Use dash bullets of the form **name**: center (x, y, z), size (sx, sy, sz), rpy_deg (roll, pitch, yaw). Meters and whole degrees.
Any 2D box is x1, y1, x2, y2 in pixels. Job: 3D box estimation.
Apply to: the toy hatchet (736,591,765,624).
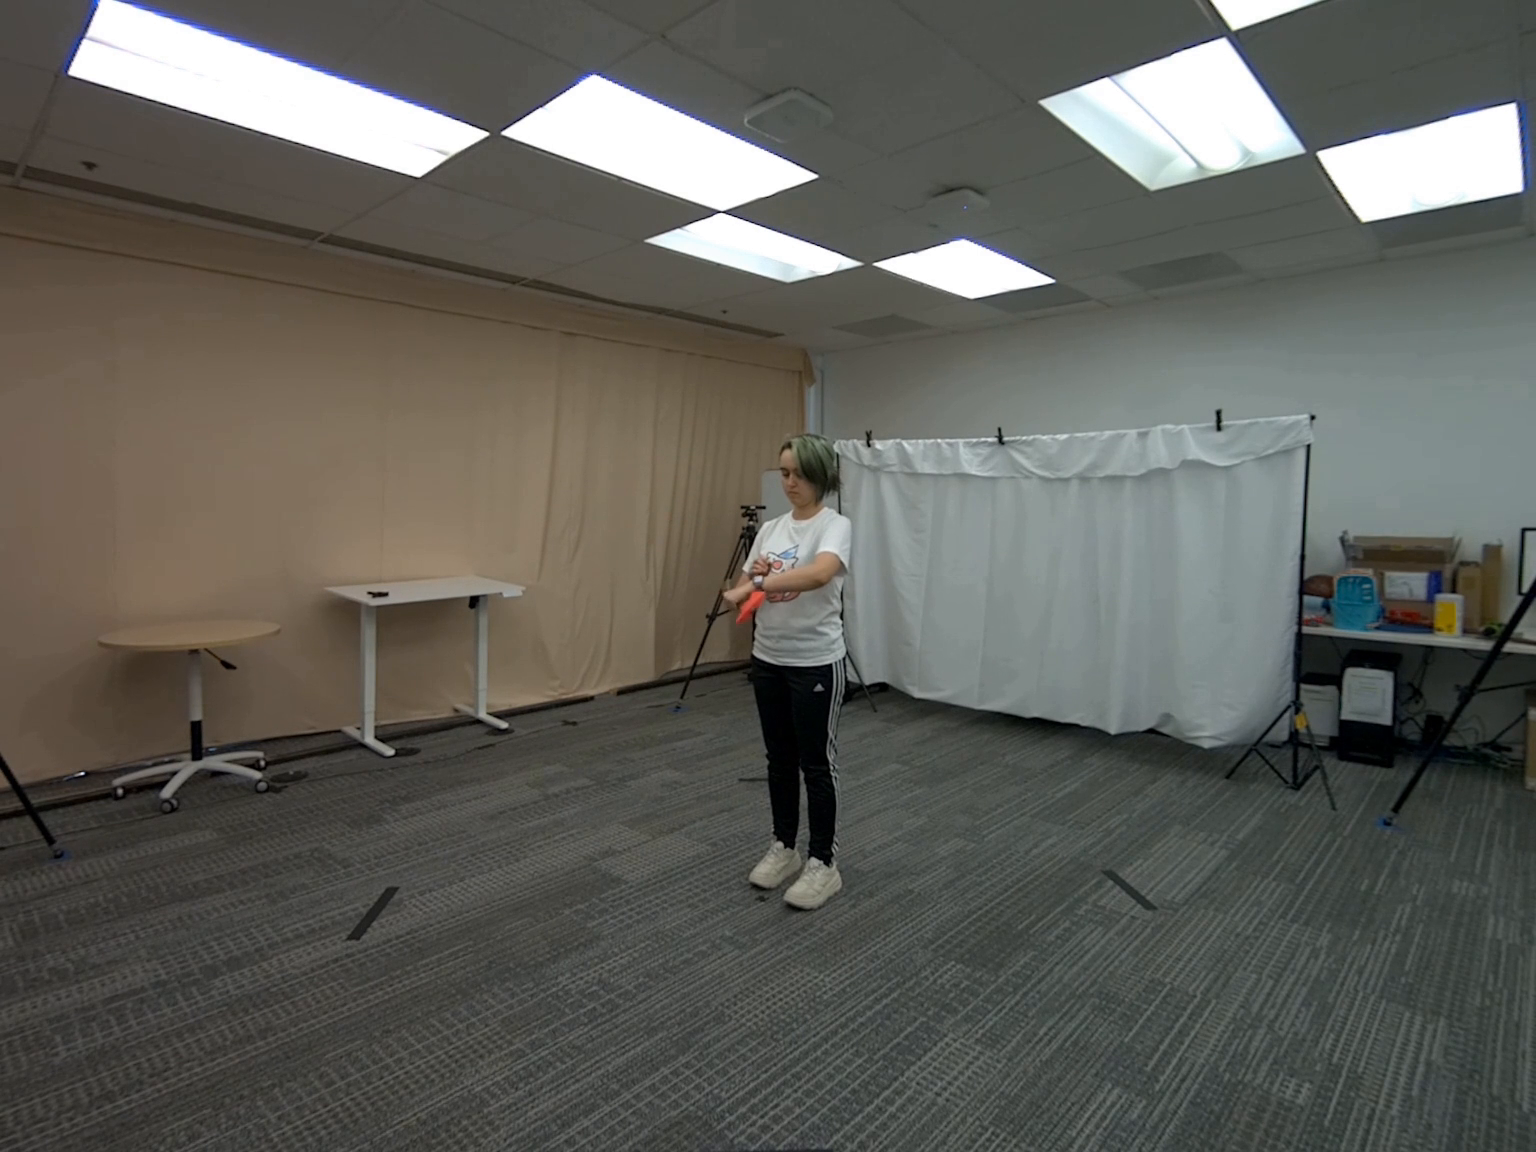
- **toy hatchet**: center (-0.068, 0.055, 2.771), size (0.131, 0.029, 0.276), rpy_deg (-40, 26, 8)
